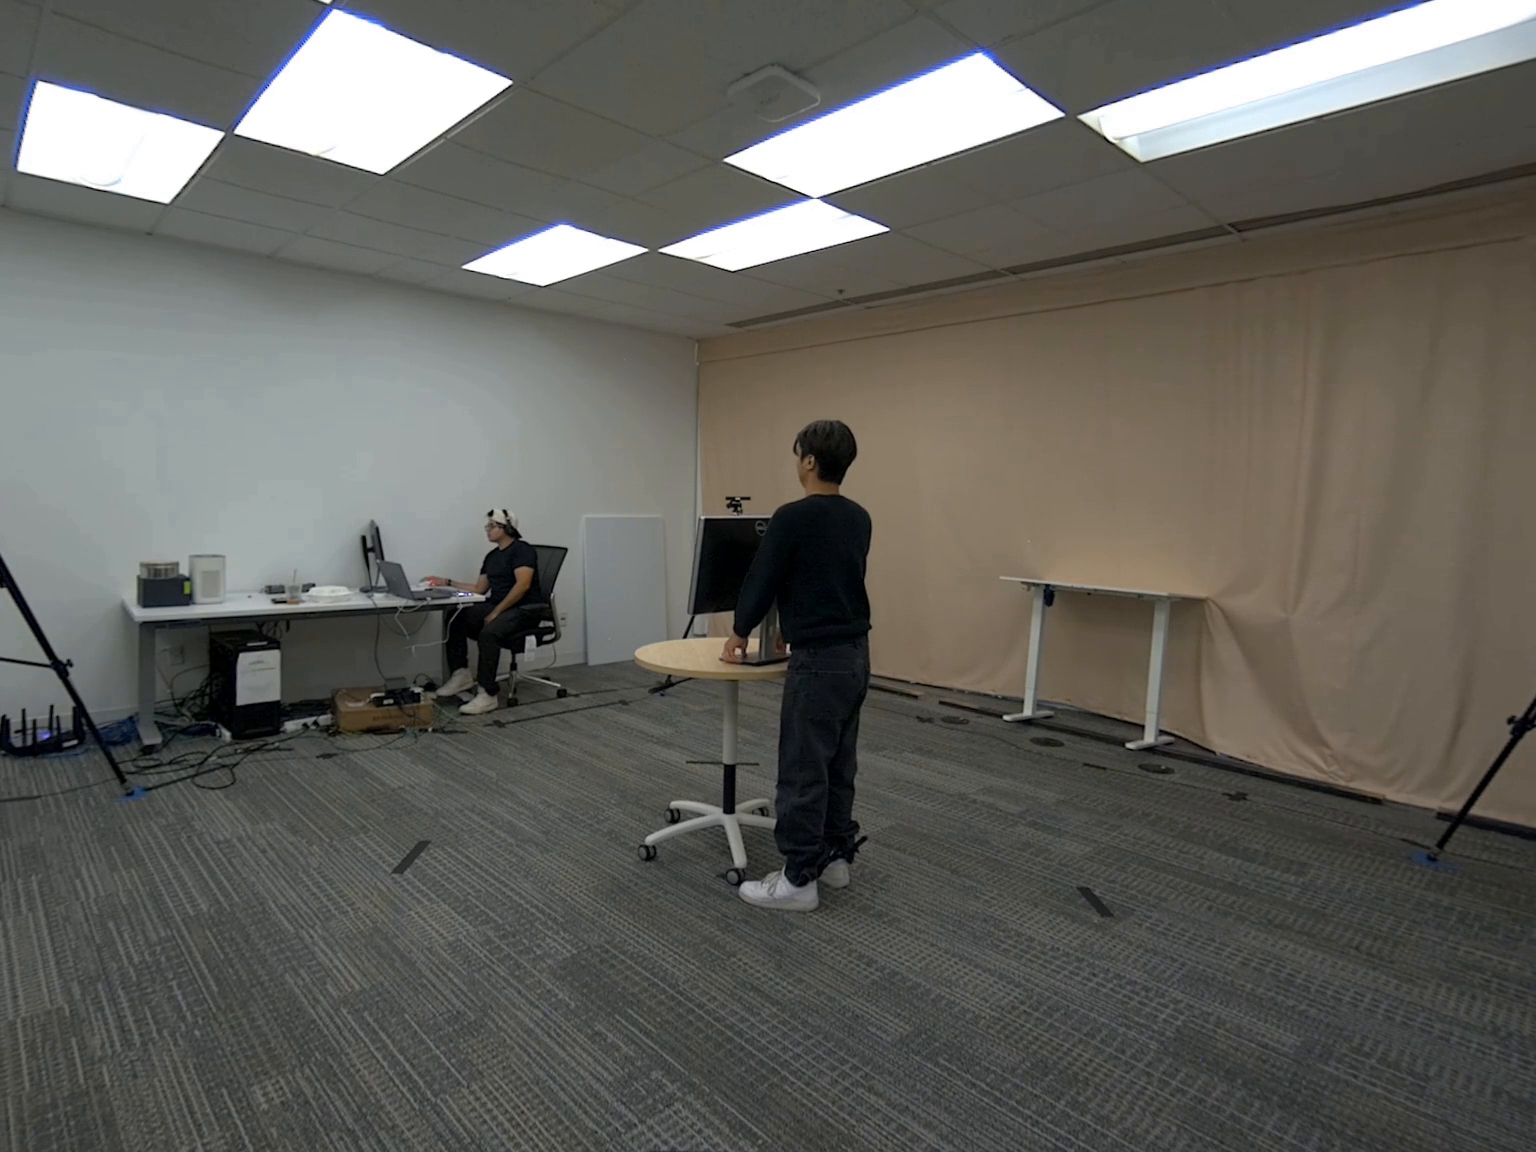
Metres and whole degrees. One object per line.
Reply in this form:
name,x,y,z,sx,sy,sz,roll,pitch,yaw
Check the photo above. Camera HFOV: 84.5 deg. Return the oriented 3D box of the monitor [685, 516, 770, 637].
monitor,-0.047,0.045,3.187,0.191,0.522,0.527,0,2,43
